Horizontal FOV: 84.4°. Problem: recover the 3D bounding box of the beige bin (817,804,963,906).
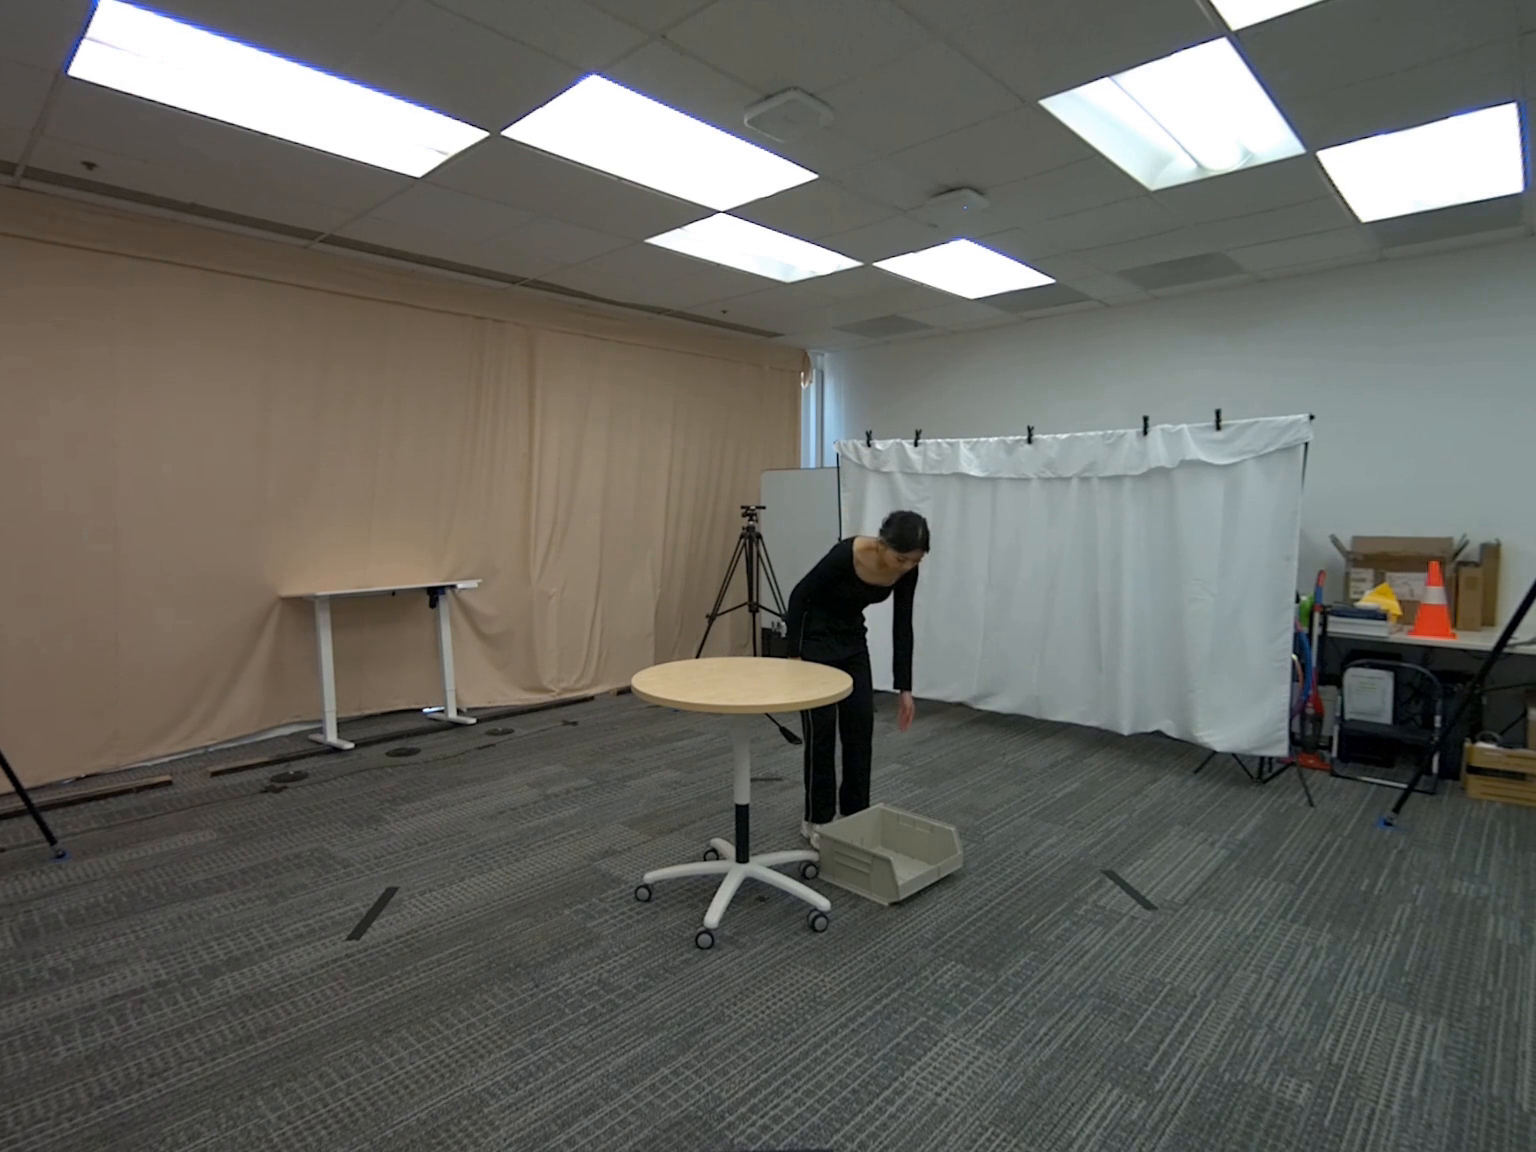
[{"bbox_3d":[0.457,1.041,3.159,0.409,0.188,0.390,-4,6,-45],"label":"beige bin"}]
